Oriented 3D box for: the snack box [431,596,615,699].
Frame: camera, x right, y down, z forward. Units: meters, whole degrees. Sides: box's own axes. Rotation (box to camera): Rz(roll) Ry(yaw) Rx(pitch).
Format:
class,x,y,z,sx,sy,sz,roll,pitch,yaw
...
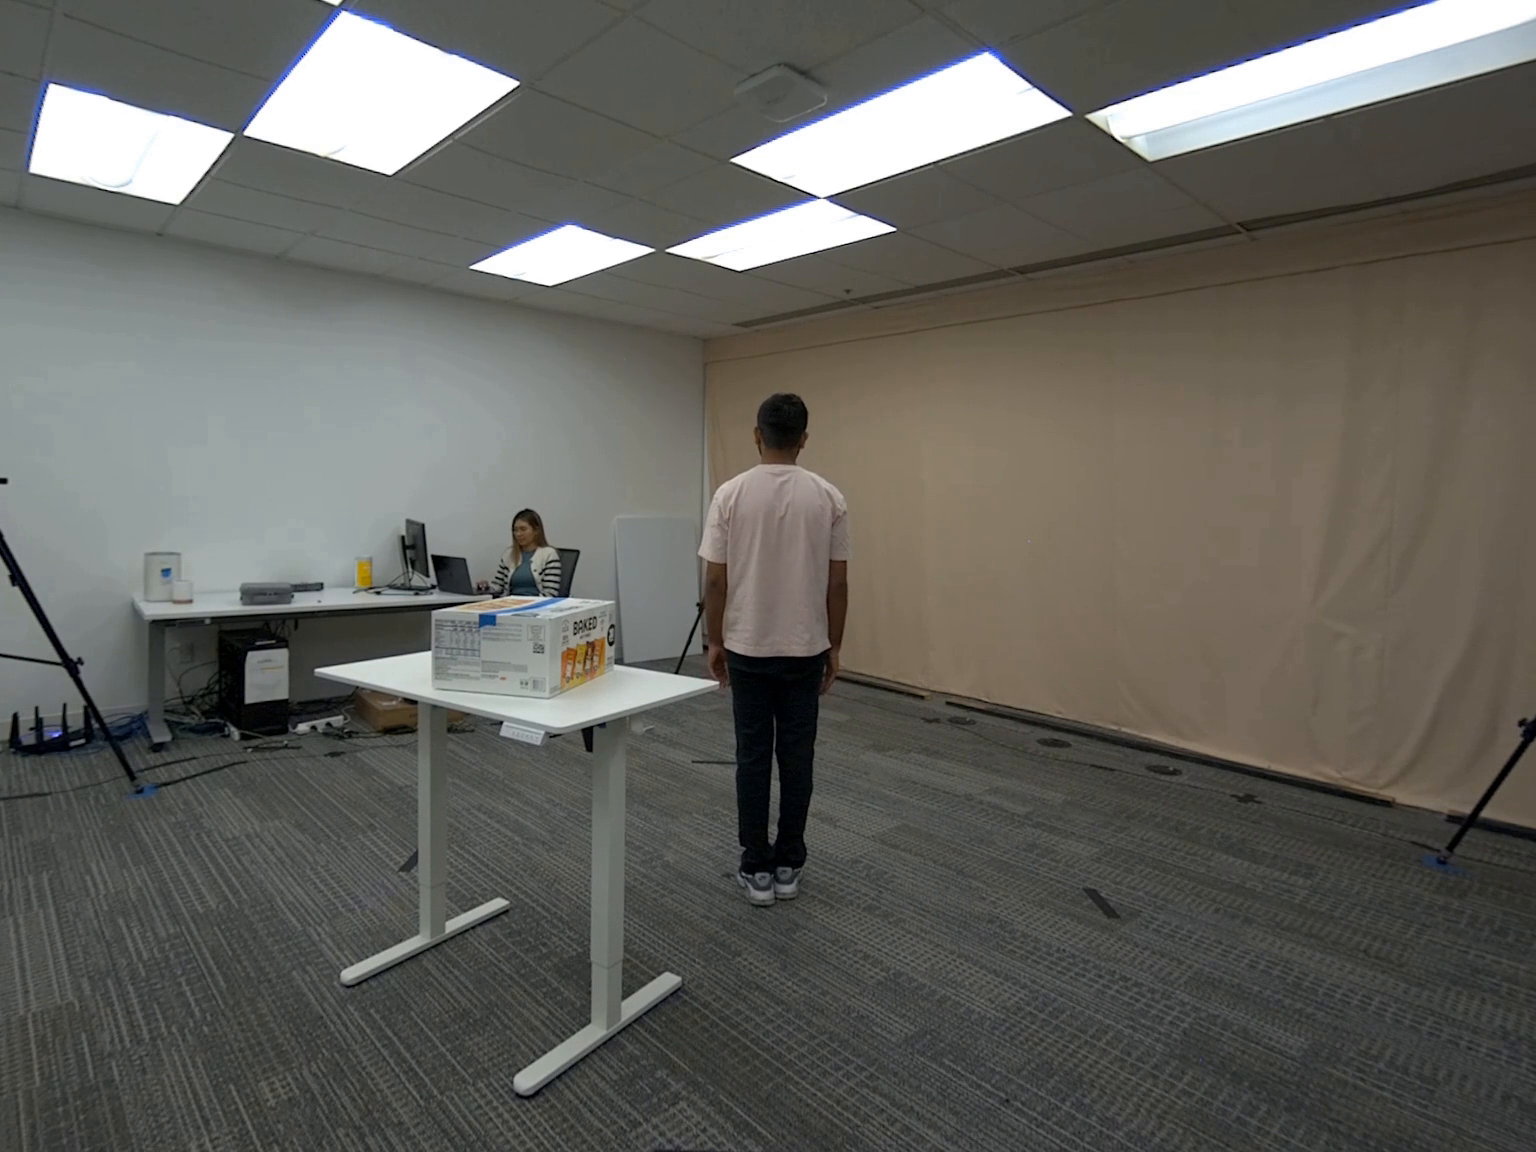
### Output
class,x,y,z,sx,sy,sz,roll,pitch,yaw
snack box,-0.659,0.180,2.310,0.344,0.205,0.401,2,5,14
